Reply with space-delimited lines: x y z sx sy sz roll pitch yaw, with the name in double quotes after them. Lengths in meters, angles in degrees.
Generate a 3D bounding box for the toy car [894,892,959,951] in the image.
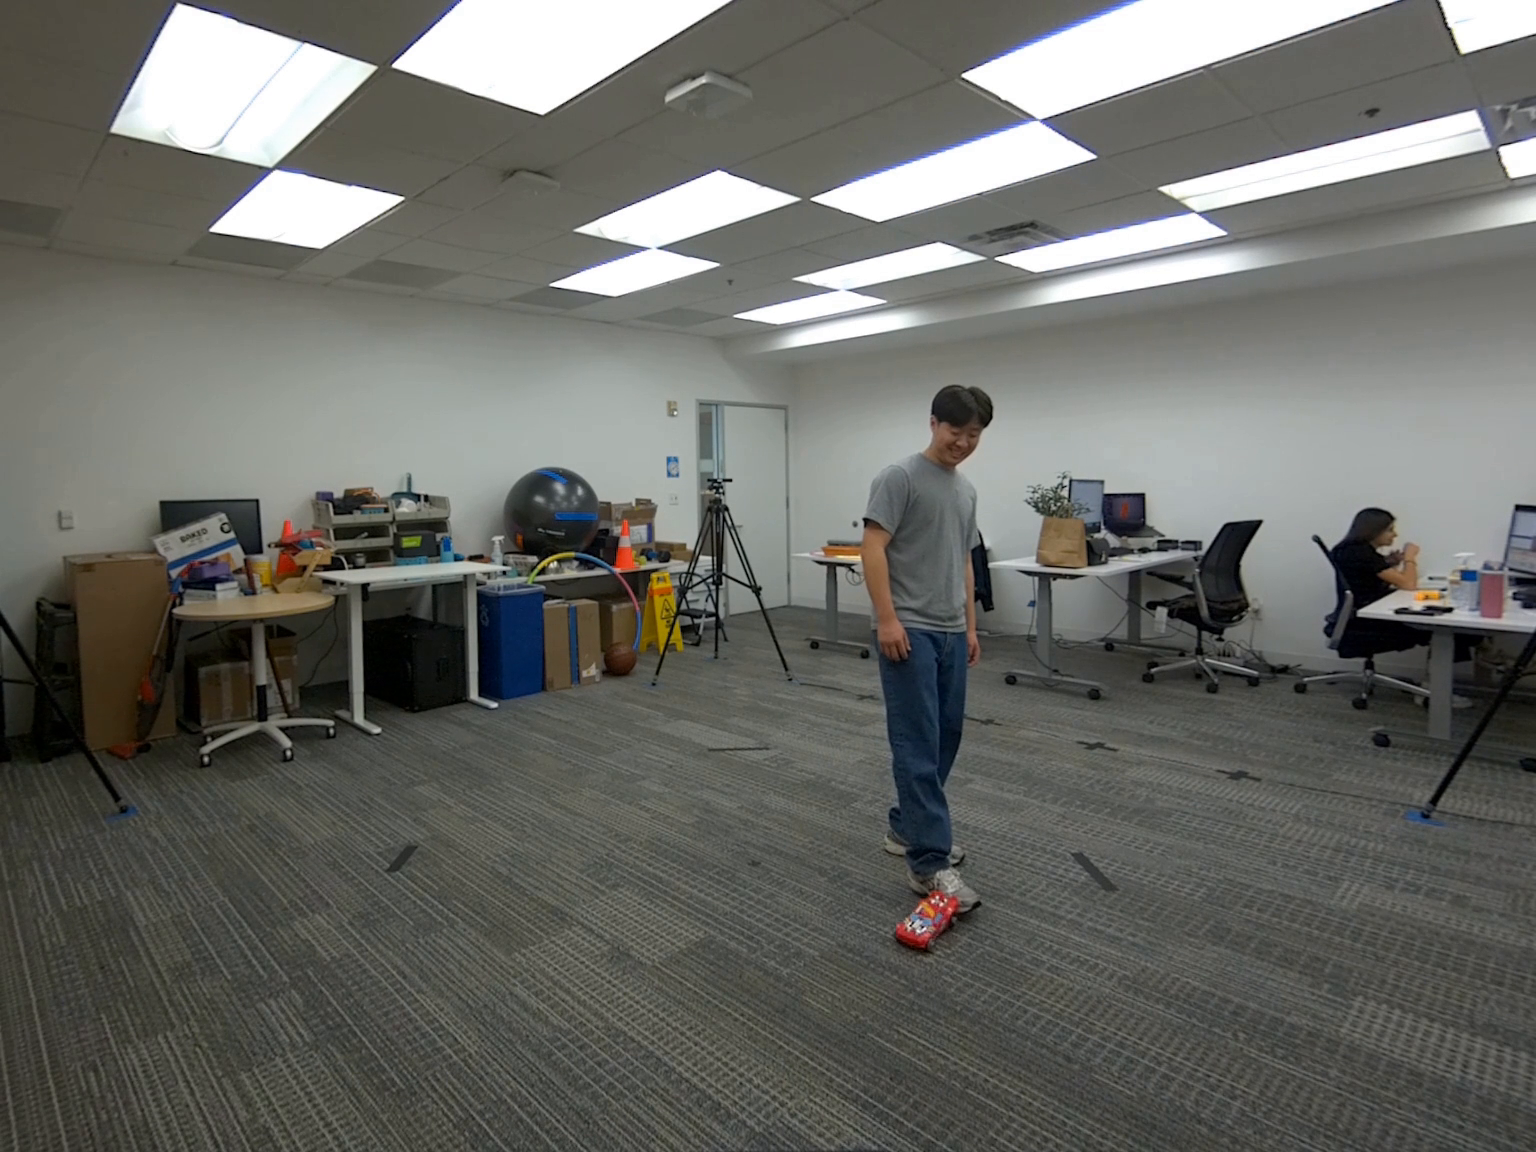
0.500 1.057 2.606 0.134 0.082 0.251 2 22 40 "toy car"
